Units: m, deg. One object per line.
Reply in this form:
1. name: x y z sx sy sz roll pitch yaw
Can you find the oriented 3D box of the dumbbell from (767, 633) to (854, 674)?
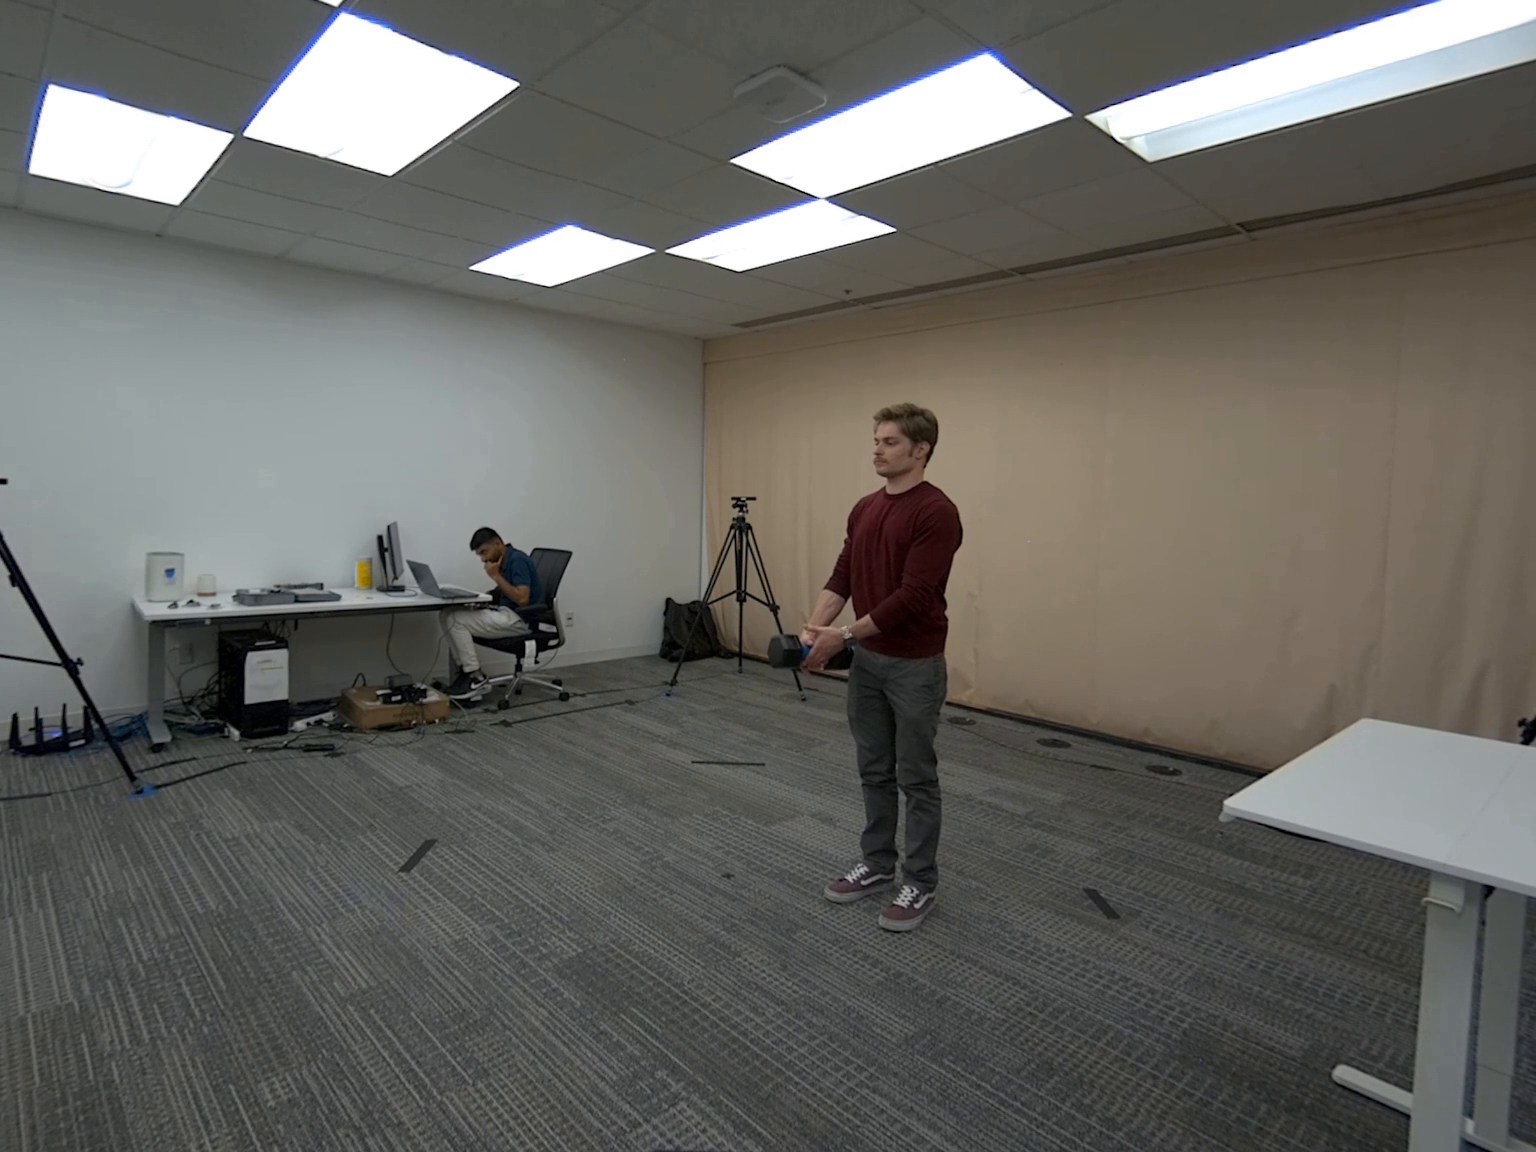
1. dumbbell: 0.140 0.262 2.820 0.287 0.126 0.108 7 -43 -30
